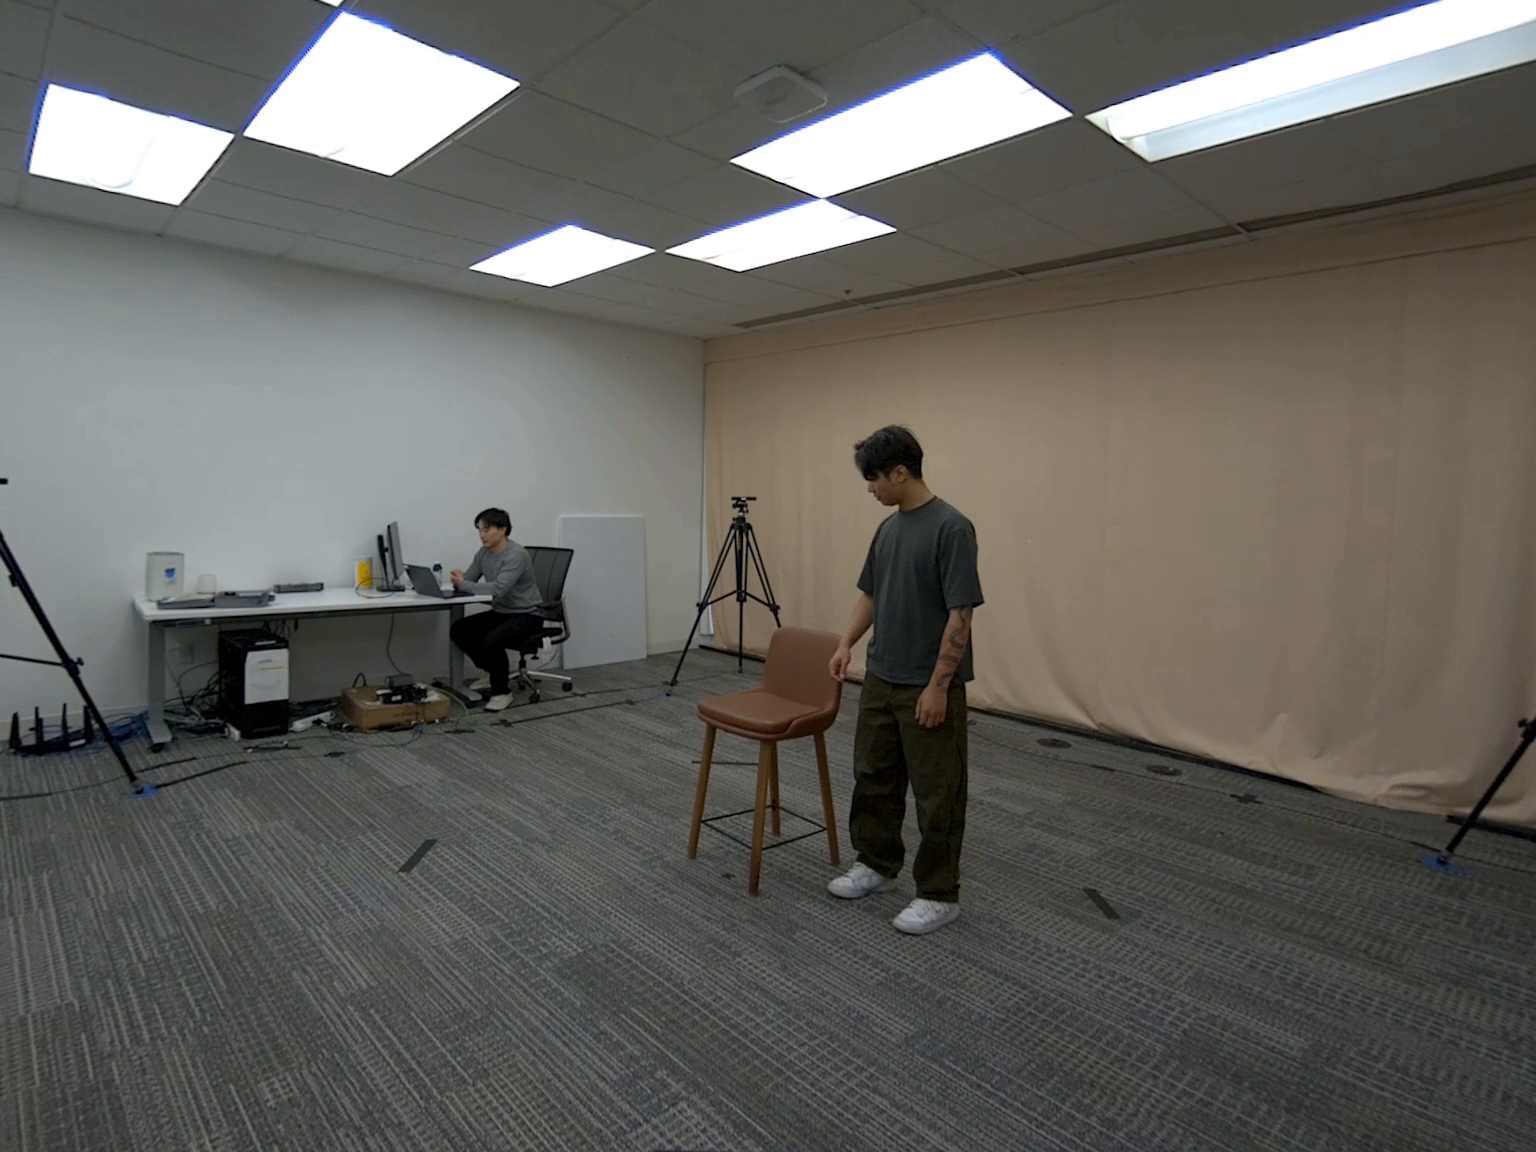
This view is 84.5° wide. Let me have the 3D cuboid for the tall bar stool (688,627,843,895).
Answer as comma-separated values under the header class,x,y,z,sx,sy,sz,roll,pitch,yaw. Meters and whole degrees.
class,x,y,z,sx,sy,sz,roll,pitch,yaw
tall bar stool,-0.005,0.665,3.222,0.456,0.888,0.468,1,3,-39
